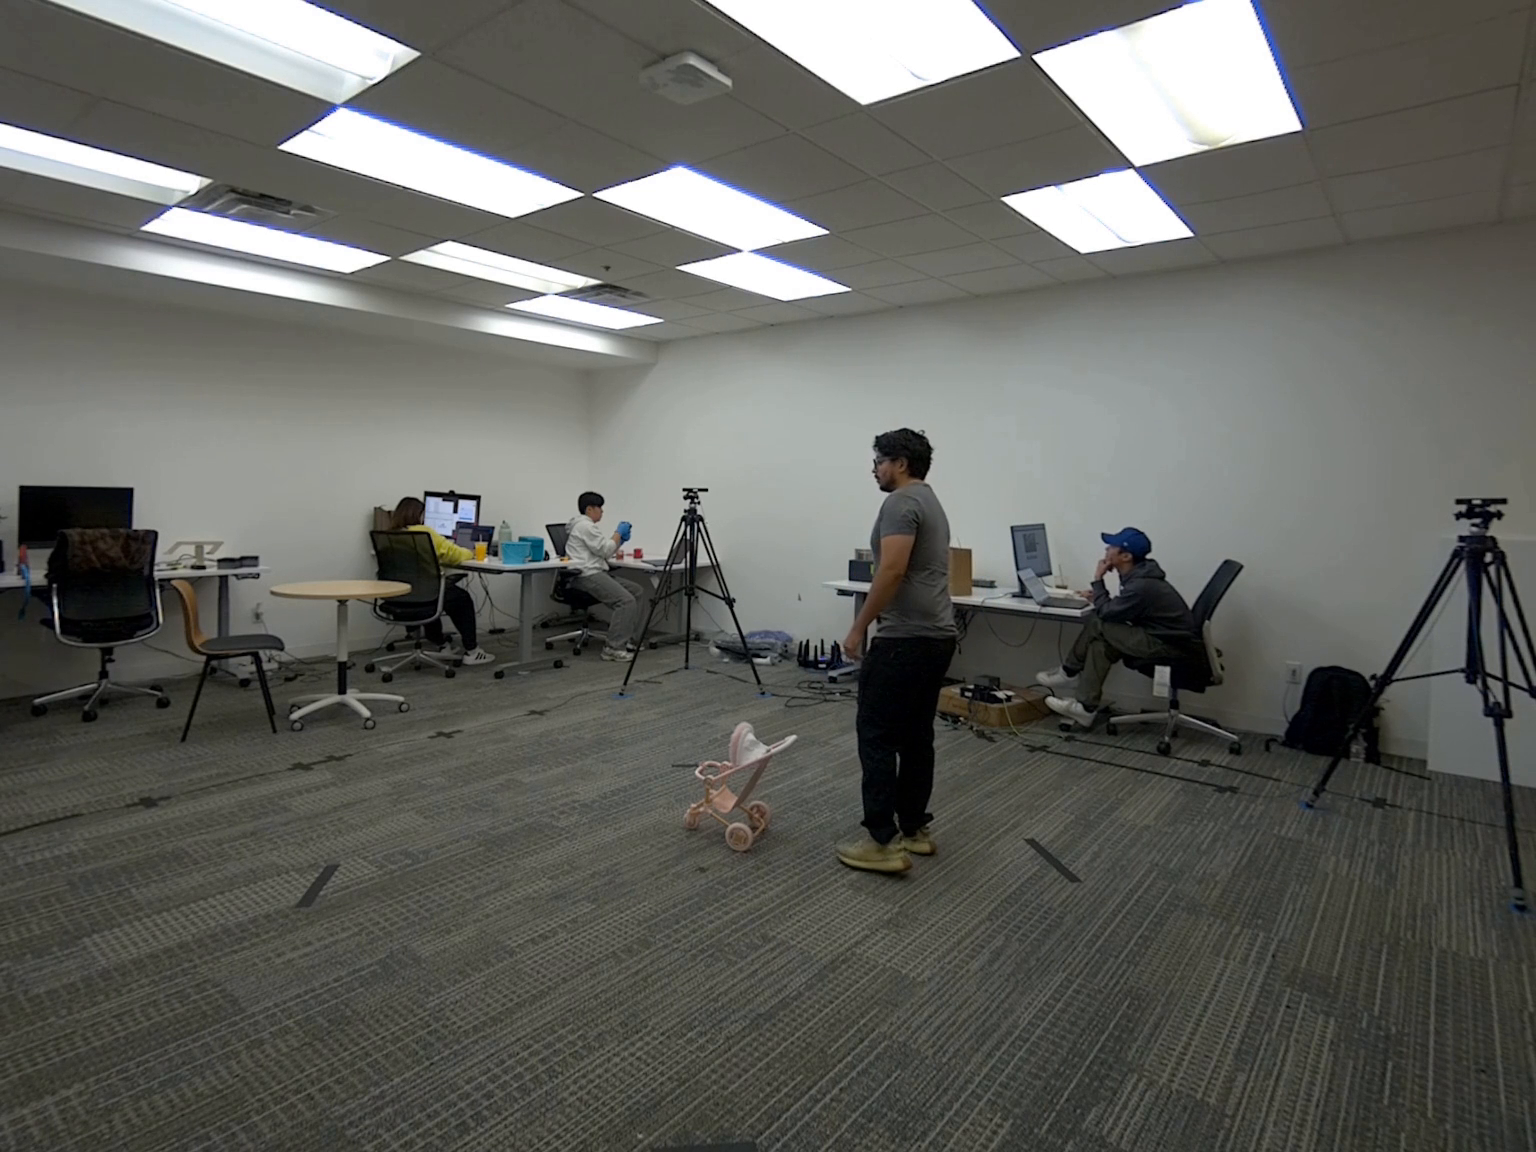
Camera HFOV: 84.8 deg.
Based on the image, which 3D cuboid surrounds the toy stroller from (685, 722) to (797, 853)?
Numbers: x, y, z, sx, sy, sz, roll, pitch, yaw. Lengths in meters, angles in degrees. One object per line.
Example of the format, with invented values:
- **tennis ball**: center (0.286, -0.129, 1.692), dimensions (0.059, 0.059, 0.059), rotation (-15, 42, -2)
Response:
- **toy stroller**: center (-0.138, 0.825, 3.415), dimensions (0.351, 0.532, 0.275), rotation (21, 10, 22)
